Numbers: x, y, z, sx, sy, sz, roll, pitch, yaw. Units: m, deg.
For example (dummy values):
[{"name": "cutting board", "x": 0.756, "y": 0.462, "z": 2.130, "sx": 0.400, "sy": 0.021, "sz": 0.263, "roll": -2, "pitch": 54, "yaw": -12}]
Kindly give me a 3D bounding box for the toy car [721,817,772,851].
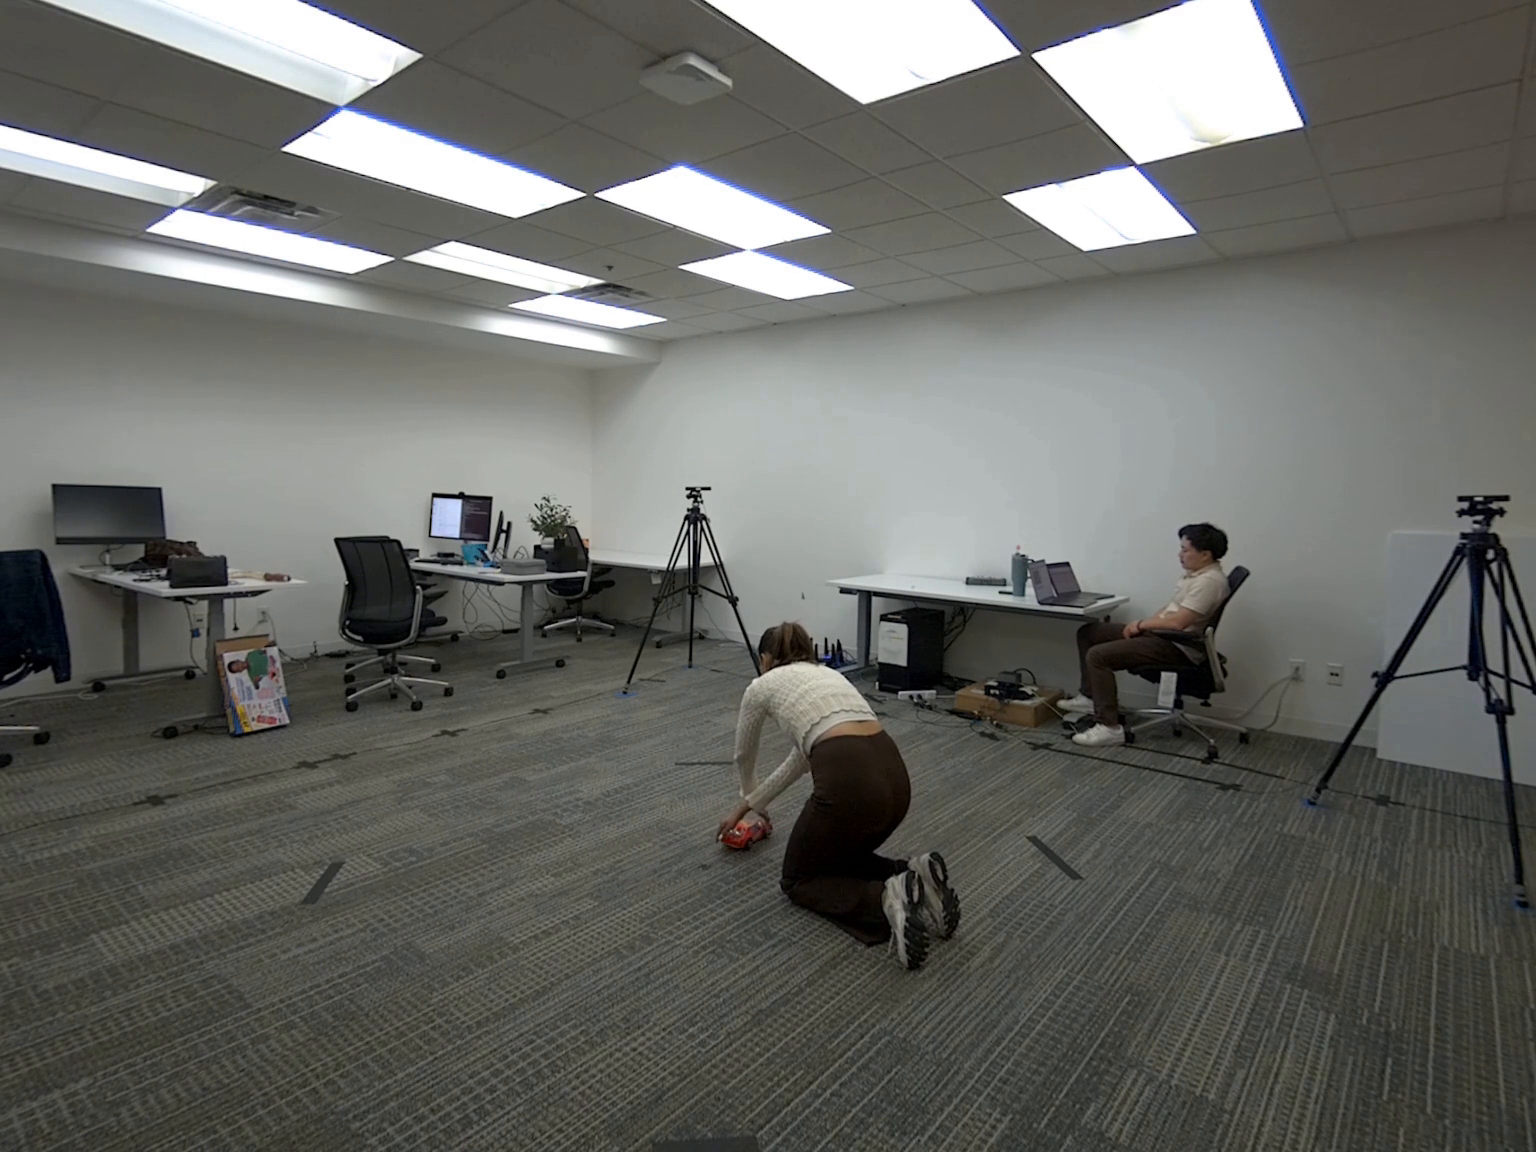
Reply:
[{"name": "toy car", "x": -0.110, "y": 1.012, "z": 3.339, "sx": 0.134, "sy": 0.083, "sz": 0.246, "roll": 4, "pitch": -5, "yaw": 32}]
